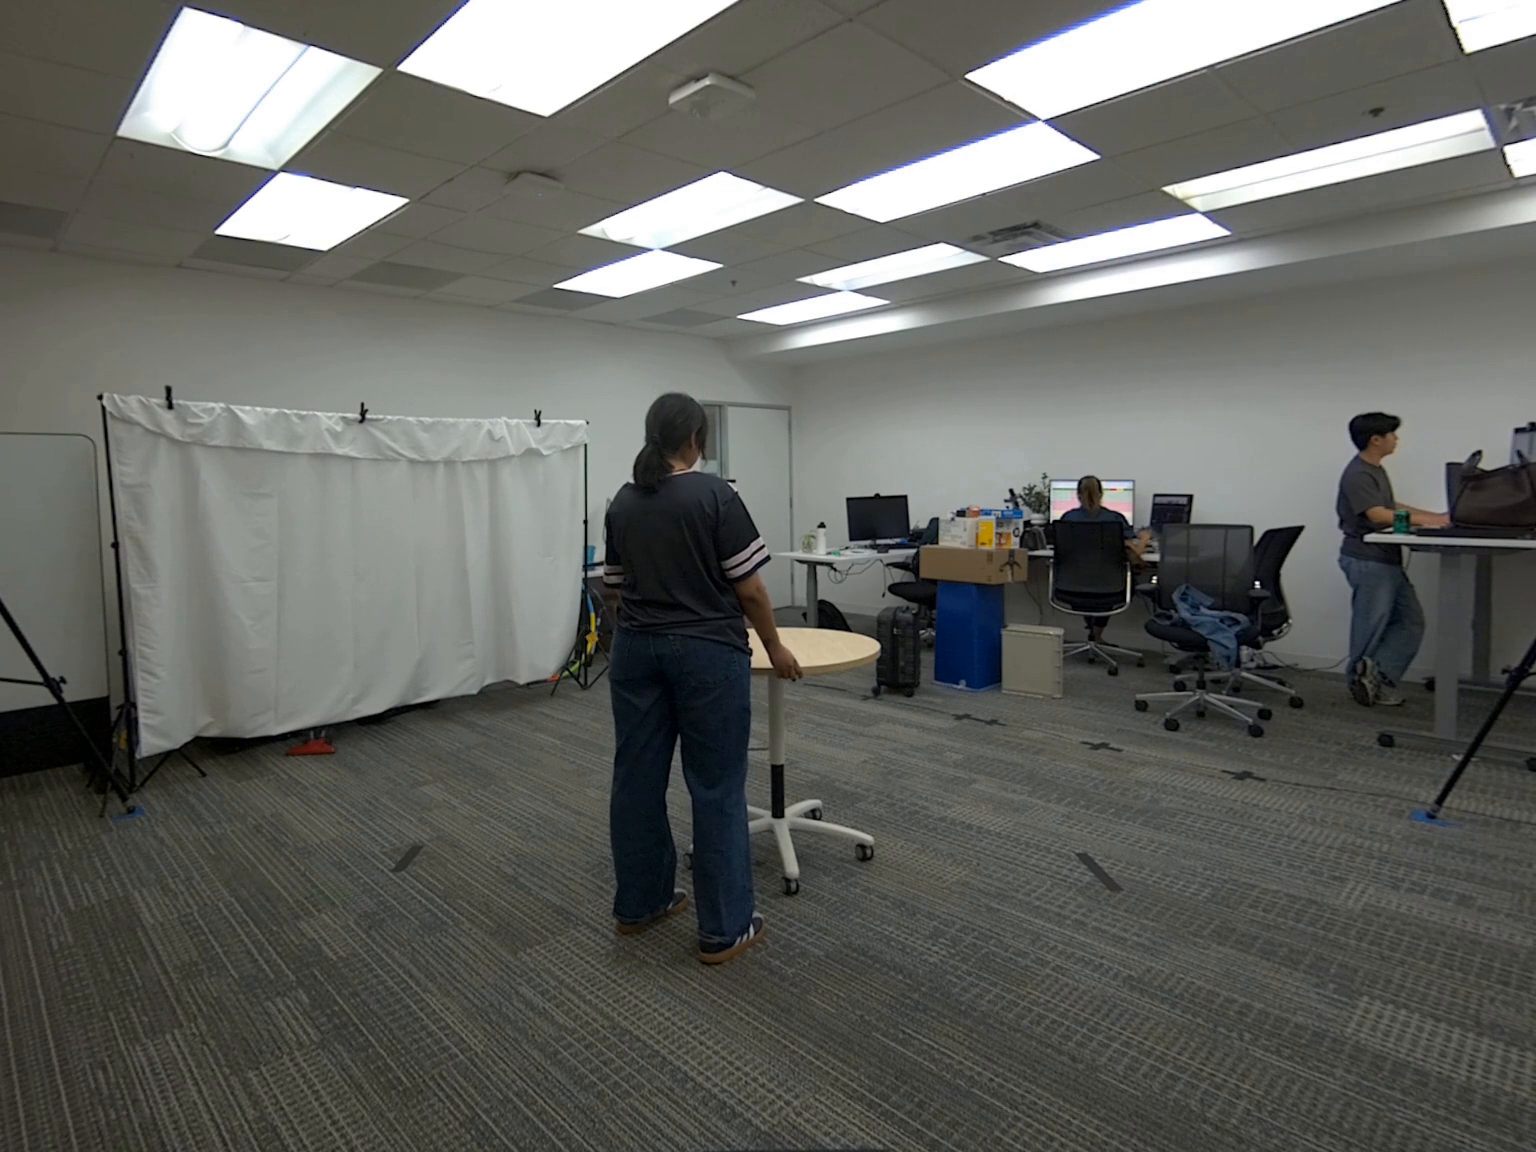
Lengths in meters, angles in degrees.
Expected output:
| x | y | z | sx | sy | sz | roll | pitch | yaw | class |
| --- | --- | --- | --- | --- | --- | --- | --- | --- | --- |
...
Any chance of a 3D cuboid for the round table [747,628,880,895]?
| x | y | z | sx | sy | sz | roll | pitch | yaw | class |
| --- | --- | --- | --- | --- | --- | --- | --- | --- | --- |
| 0.039 | 0.649 | 3.172 | 0.763 | 0.791 | 0.768 | -1 | 5 | -2 | round table |
